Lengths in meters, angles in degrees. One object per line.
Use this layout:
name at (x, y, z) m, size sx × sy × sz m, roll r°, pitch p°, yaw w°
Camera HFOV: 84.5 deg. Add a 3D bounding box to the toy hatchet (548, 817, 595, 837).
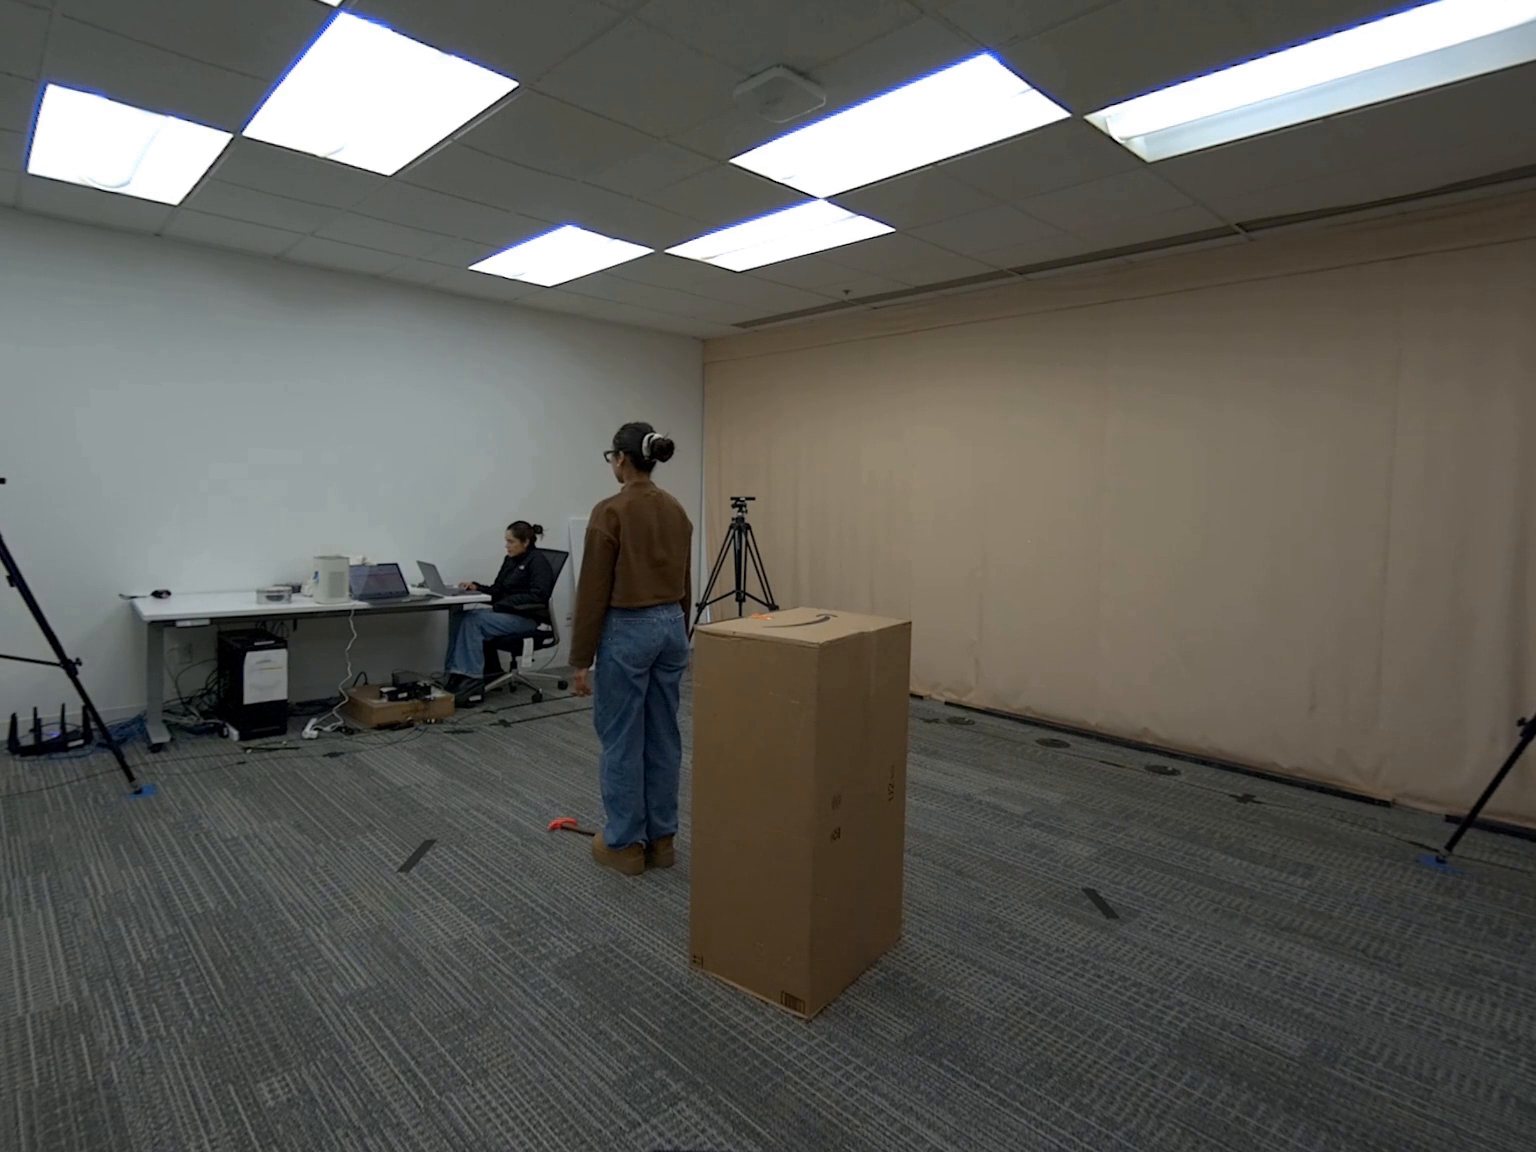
toy hatchet at (-0.787, 1.049, 3.510) m, size 0.273 × 0.029 × 0.129 m, roll 5°, pitch 2°, yaw 13°
